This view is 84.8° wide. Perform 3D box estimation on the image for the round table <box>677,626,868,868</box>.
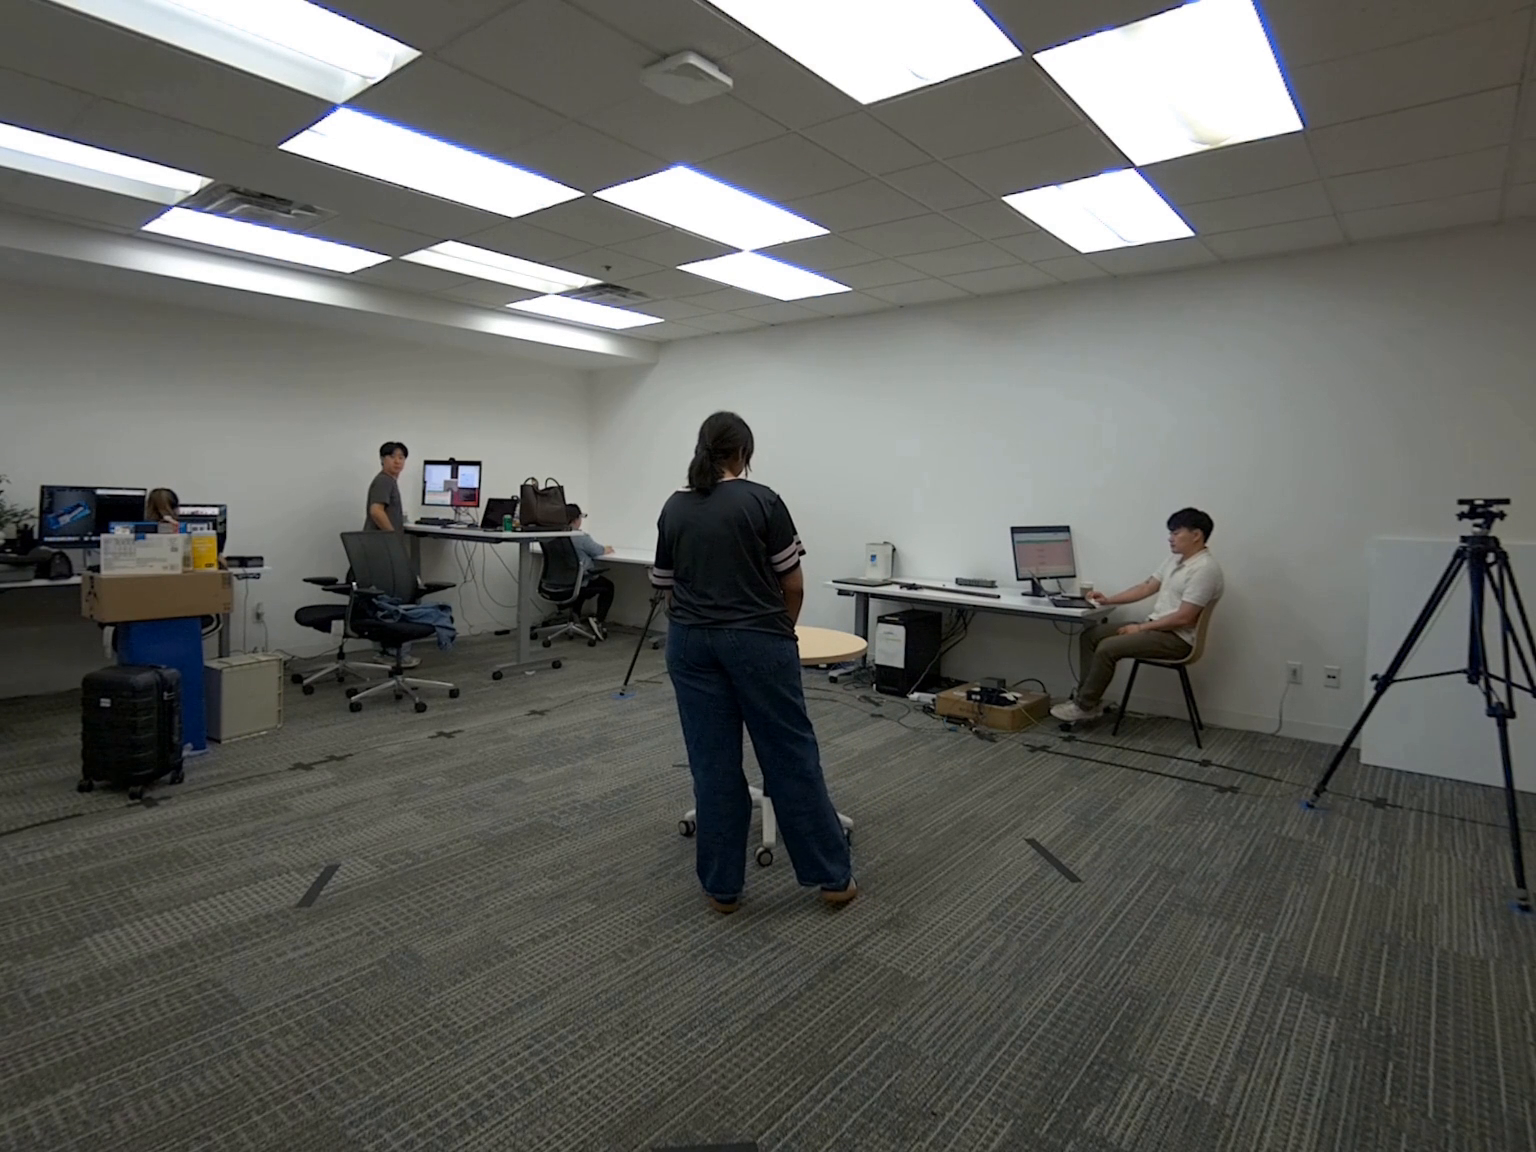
[{"bbox_3d":[0.007,0.649,3.478,0.763,0.791,0.768,1,4,-2],"label":"round table"}]
